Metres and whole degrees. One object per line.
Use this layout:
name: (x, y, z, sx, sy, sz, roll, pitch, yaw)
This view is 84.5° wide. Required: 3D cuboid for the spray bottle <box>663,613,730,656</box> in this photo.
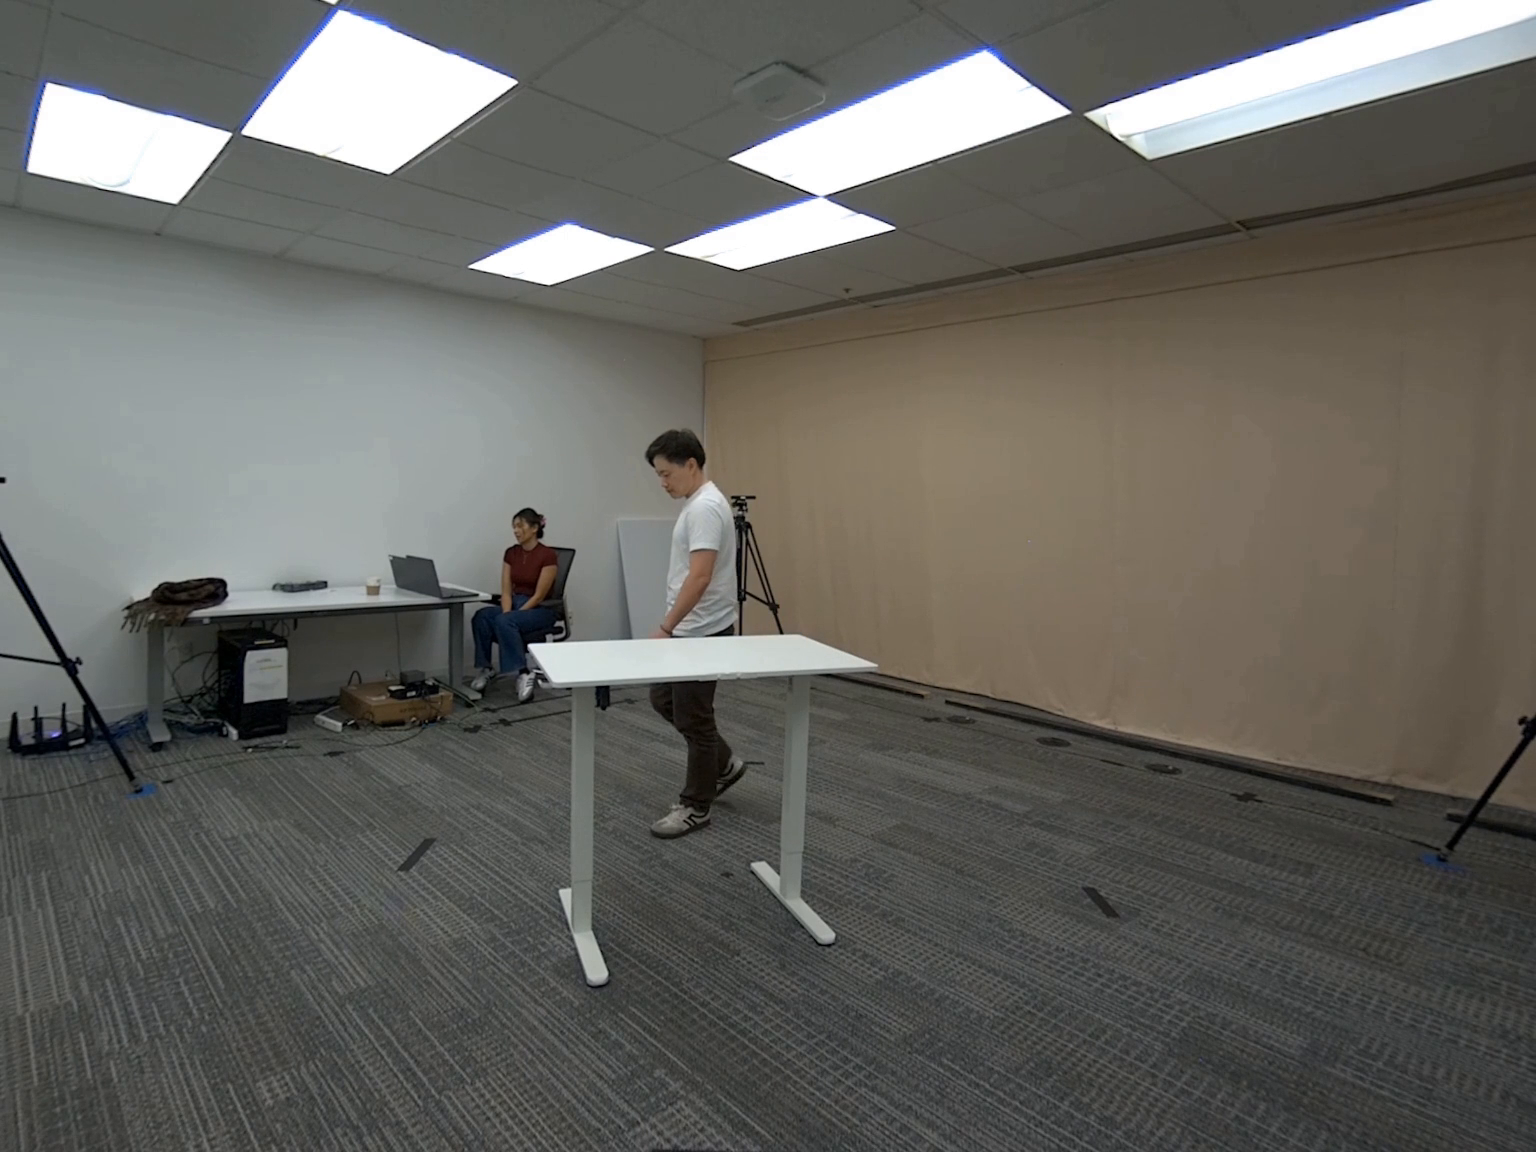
spray bottle: (-0.339, 0.257, 3.870, 0.294, 0.087, 0.091, 26, -7, -11)
